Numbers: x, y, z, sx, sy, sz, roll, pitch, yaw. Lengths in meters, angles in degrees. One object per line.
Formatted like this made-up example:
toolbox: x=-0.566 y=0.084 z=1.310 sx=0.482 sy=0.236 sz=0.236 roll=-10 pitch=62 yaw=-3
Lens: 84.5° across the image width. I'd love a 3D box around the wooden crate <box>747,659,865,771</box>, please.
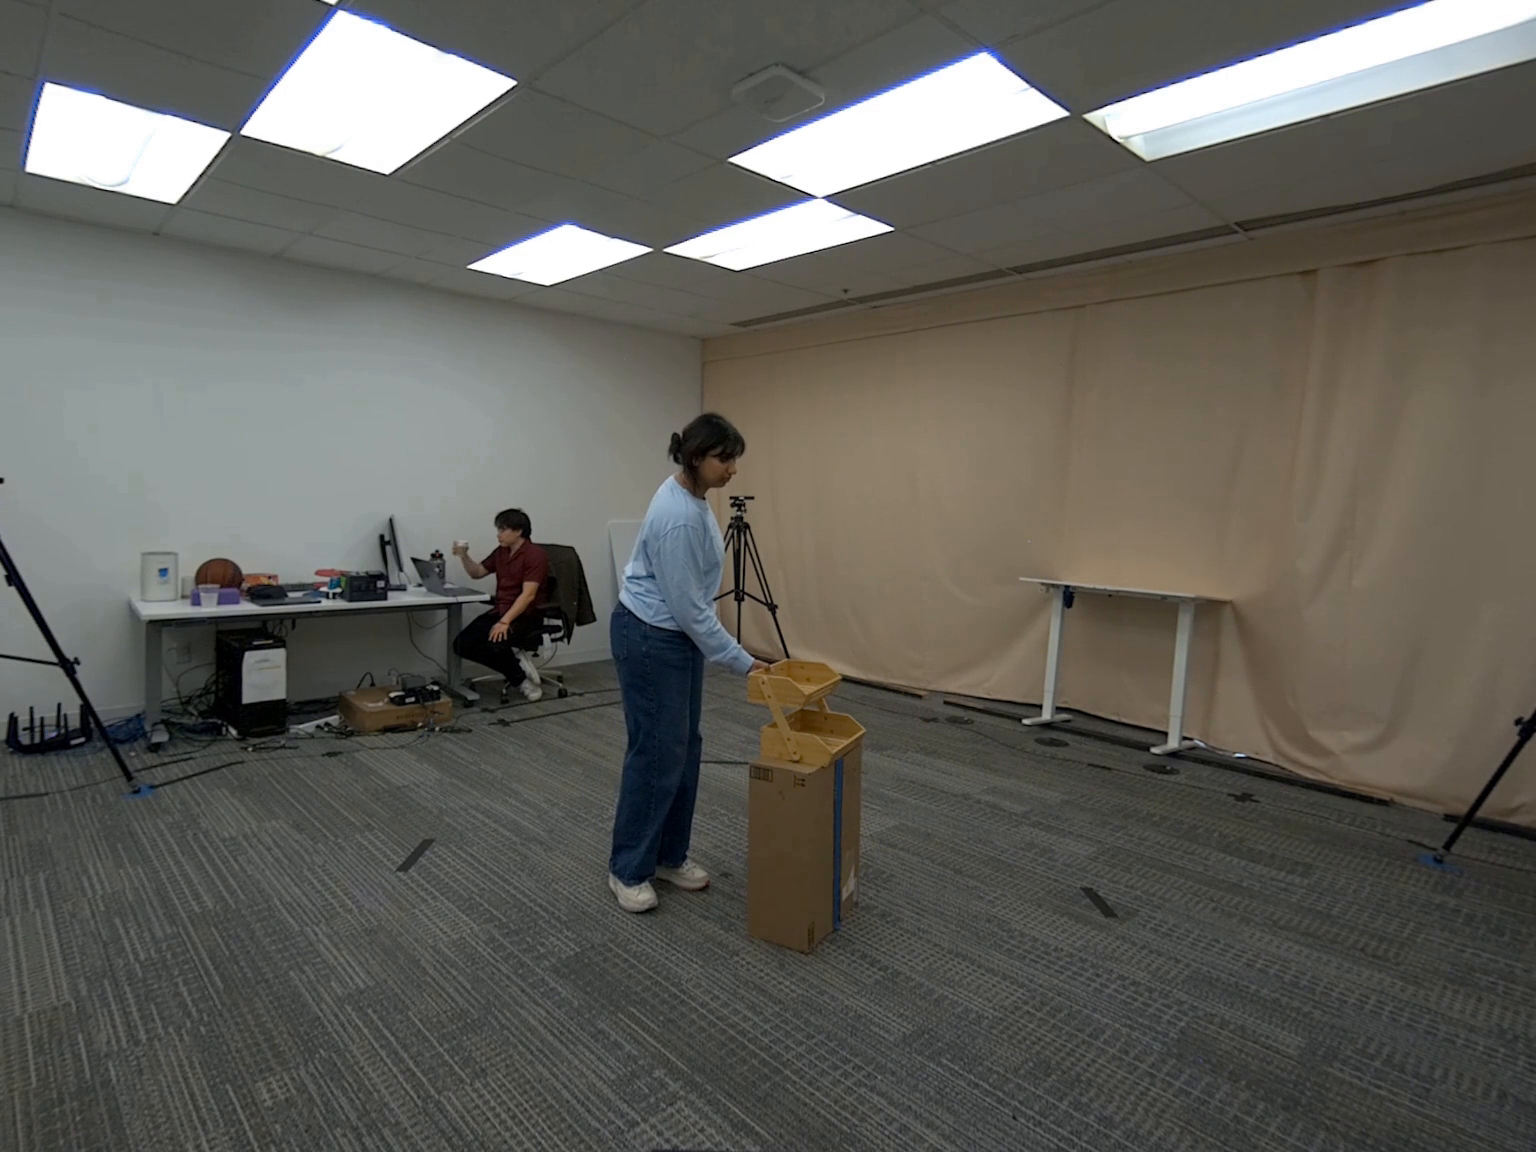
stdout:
wooden crate: x=0.128 y=0.440 z=2.784 sx=0.308 sy=0.272 sz=0.319 roll=3 pitch=5 yaw=27
